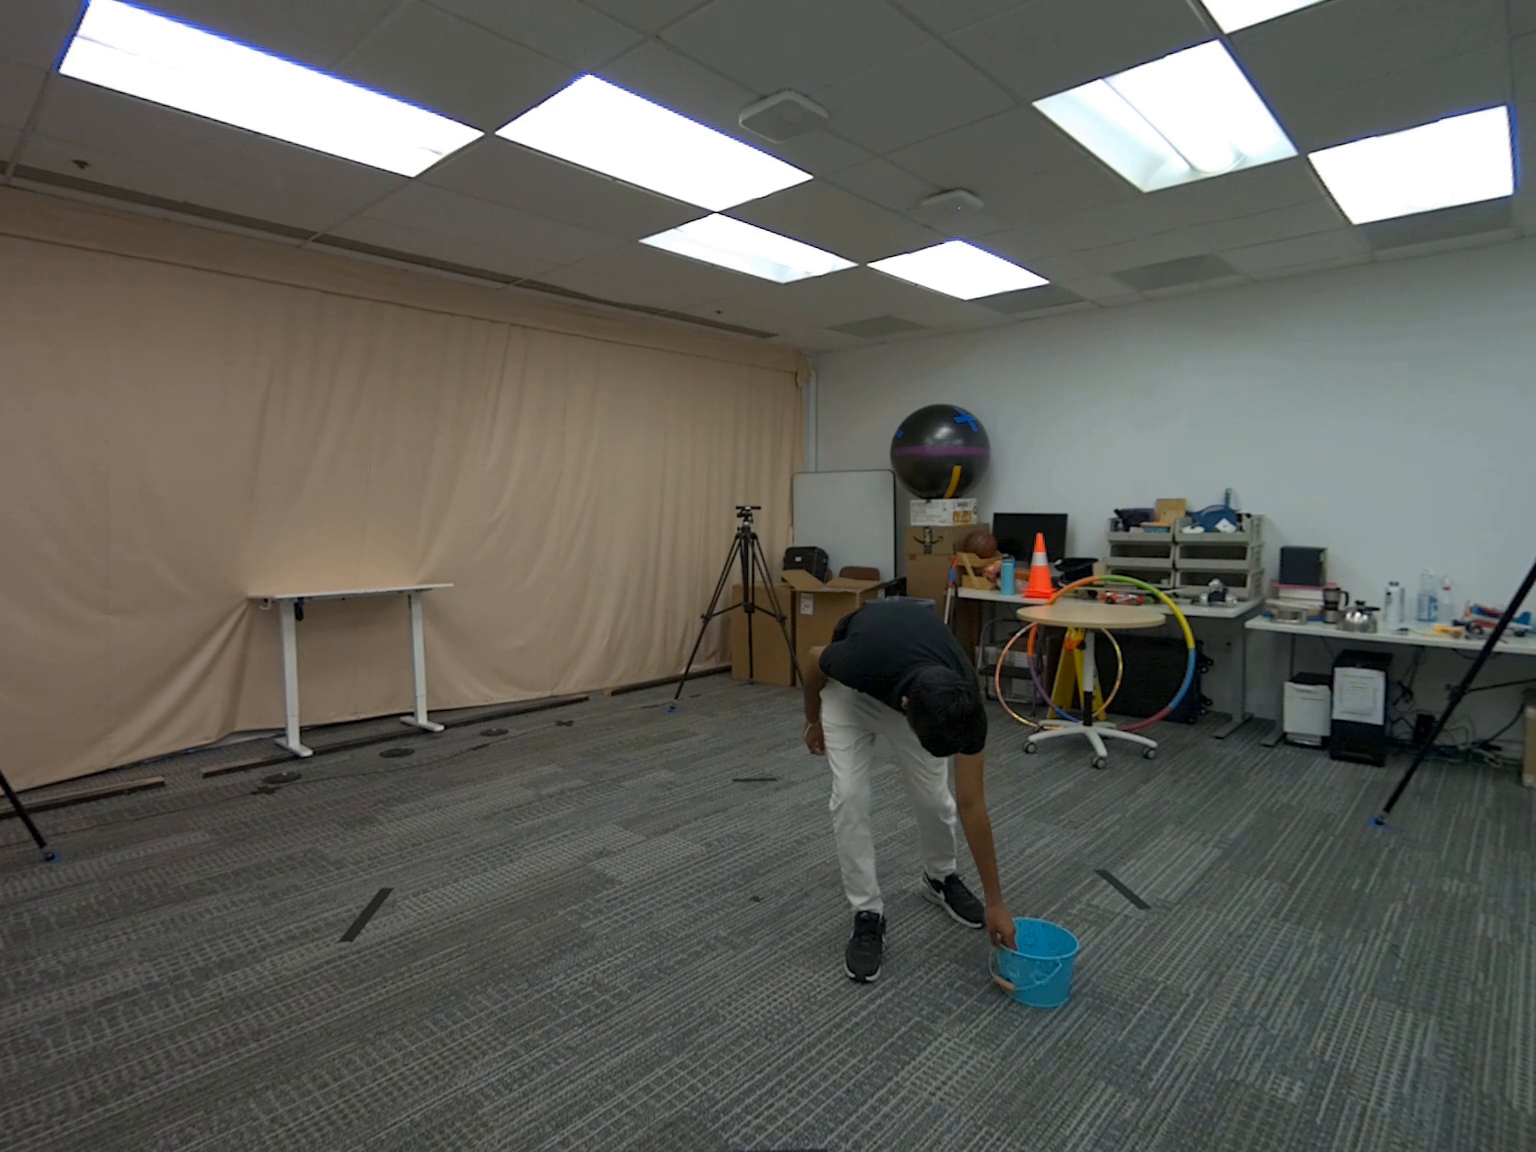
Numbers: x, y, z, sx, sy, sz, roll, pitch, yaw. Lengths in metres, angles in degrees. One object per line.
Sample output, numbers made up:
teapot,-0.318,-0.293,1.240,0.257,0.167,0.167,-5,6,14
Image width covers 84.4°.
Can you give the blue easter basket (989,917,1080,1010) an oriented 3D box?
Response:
blue easter basket,0.769,1.111,2.424,0.243,0.155,0.244,0,4,-2
